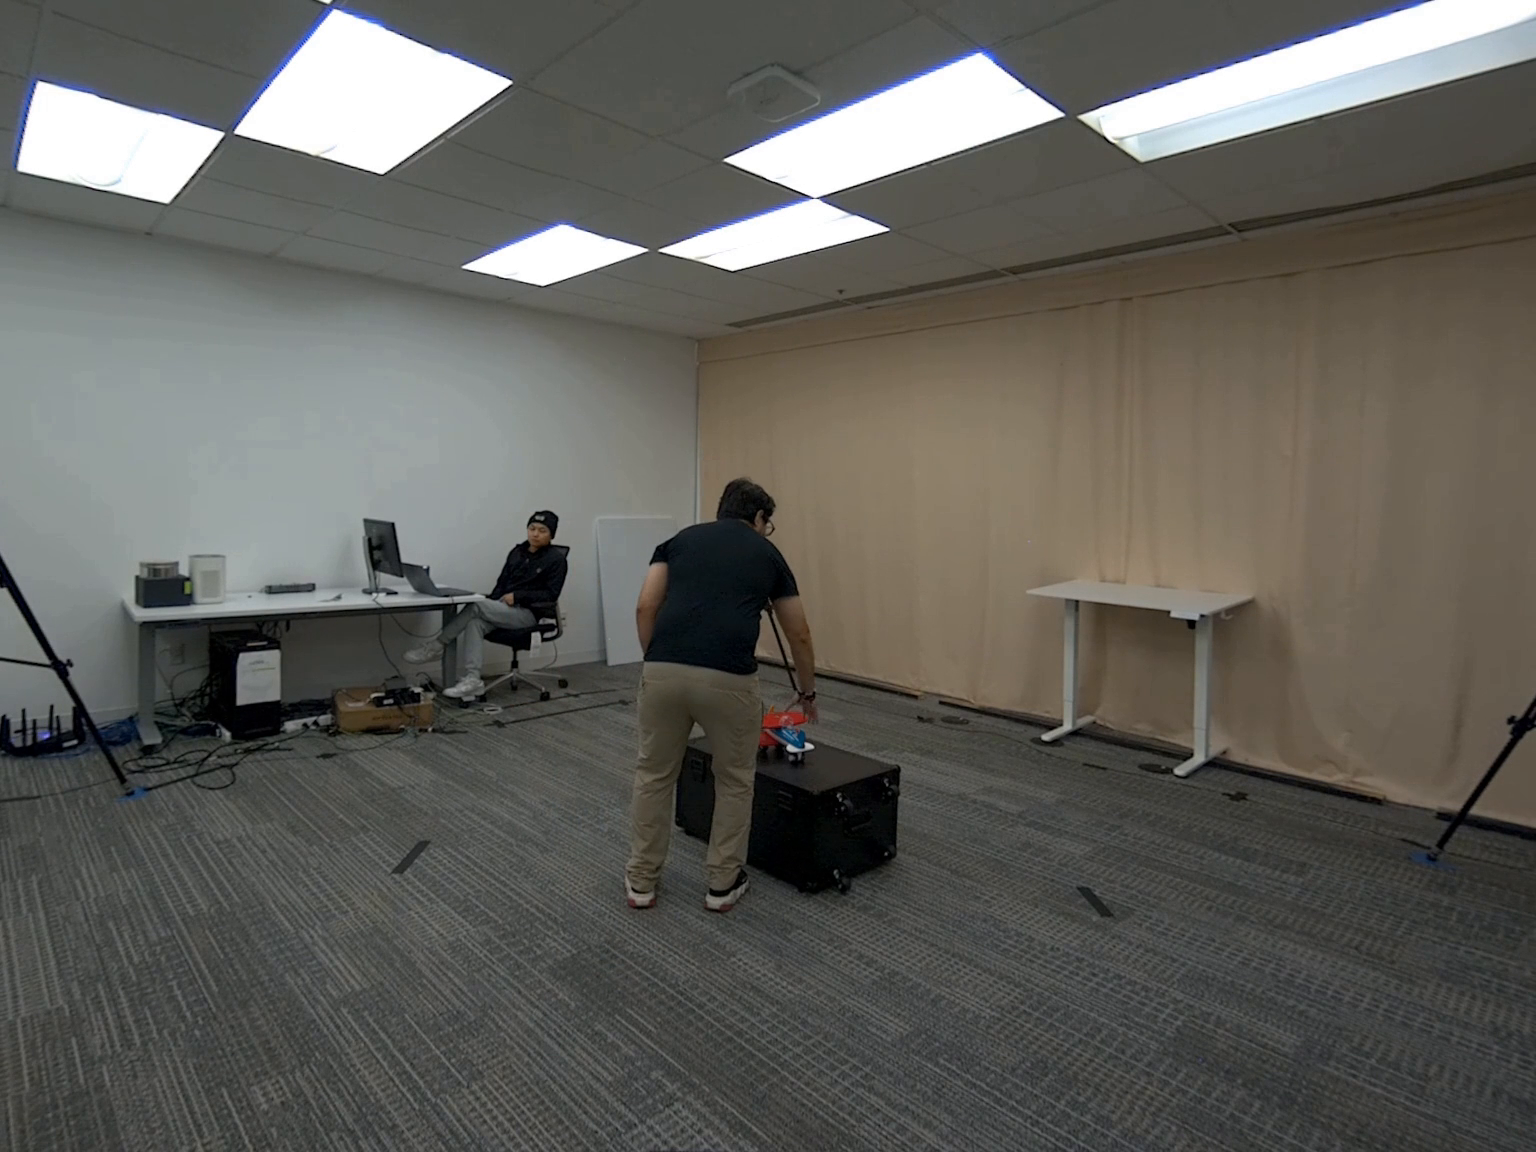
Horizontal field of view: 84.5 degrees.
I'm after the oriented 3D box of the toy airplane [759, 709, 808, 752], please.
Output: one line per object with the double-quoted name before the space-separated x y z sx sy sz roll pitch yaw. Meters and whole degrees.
"toy airplane" 0.067 0.637 3.363 0.264 0.156 0.246 2 4 28
